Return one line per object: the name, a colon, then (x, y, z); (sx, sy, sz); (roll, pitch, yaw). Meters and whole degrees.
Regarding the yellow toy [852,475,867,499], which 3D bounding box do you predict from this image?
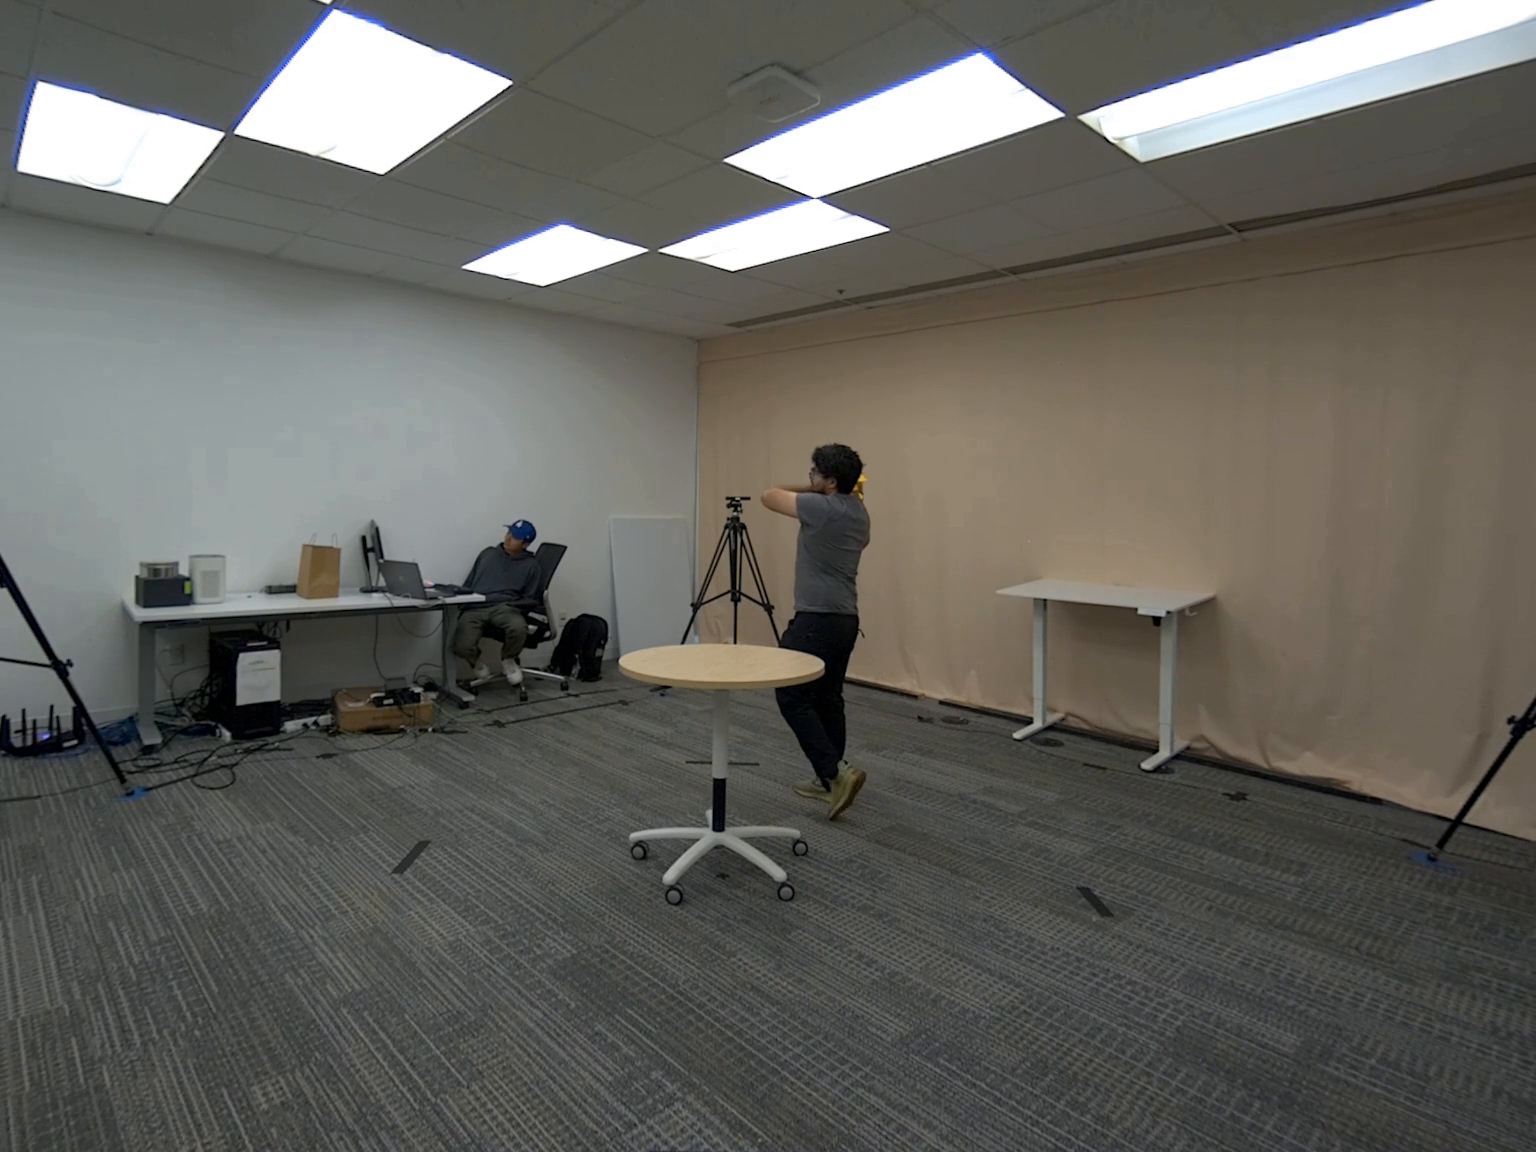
yellow toy: (0.334, -0.455, 3.986); (0.196, 0.231, 0.201); (-16, -2, 32)
